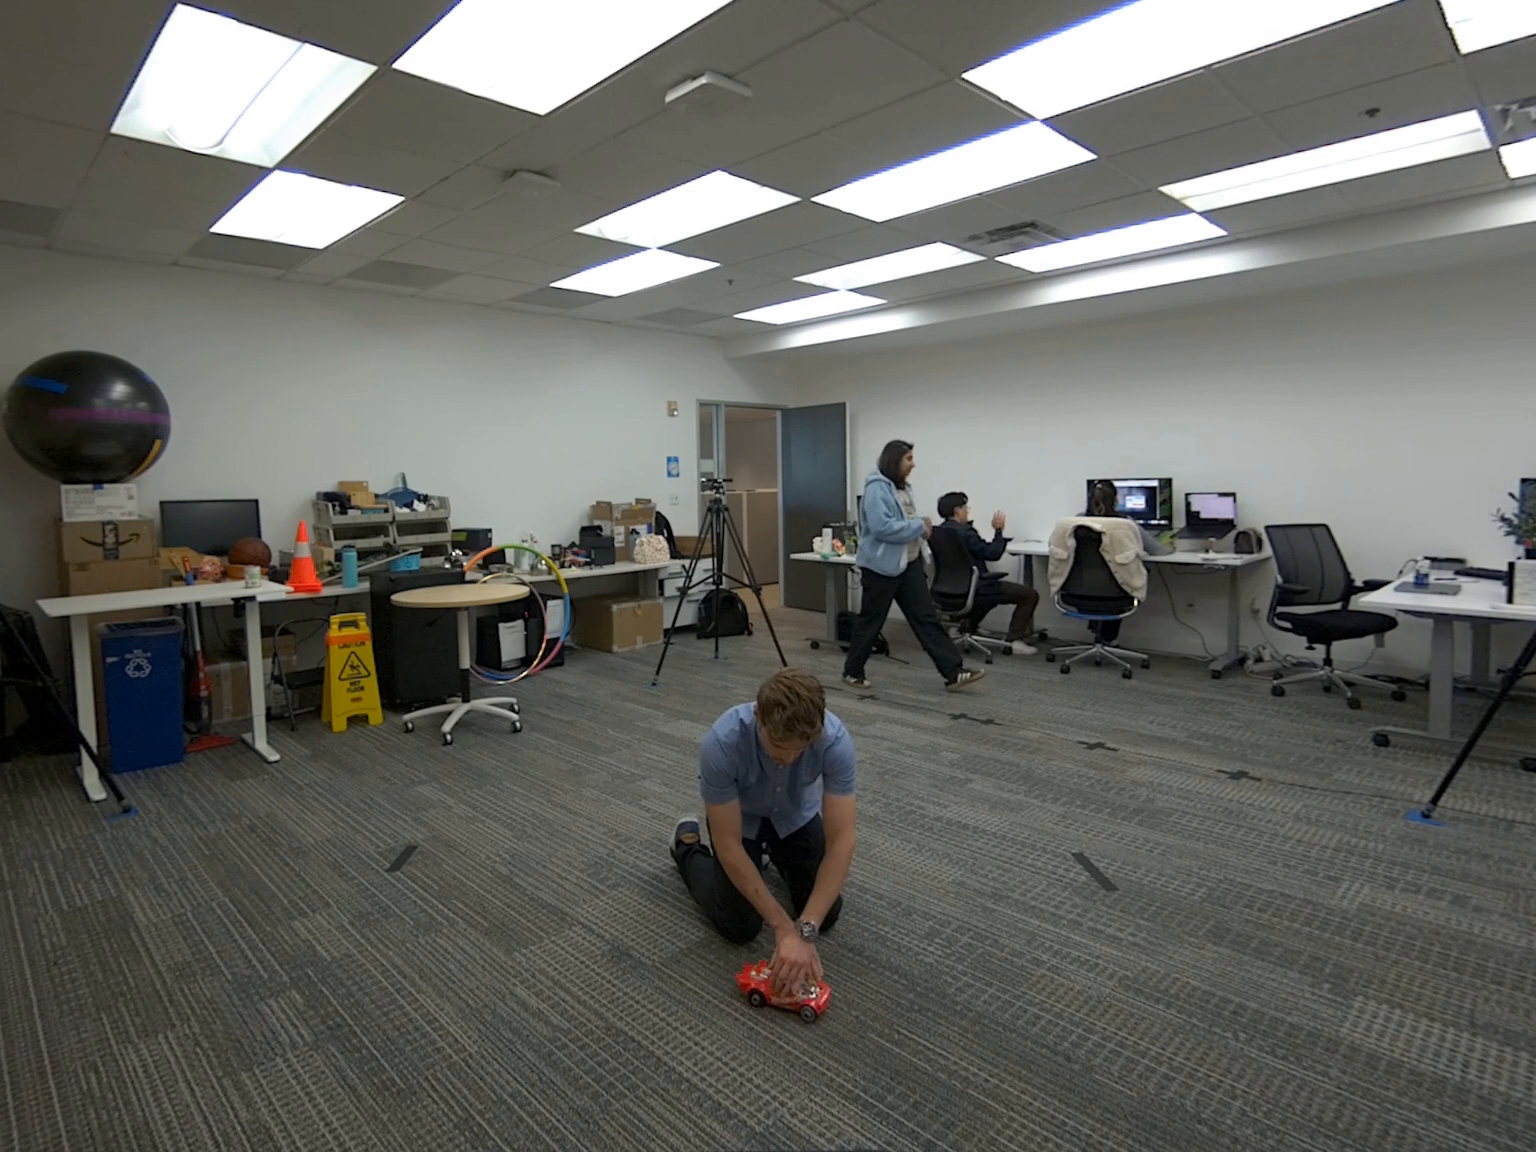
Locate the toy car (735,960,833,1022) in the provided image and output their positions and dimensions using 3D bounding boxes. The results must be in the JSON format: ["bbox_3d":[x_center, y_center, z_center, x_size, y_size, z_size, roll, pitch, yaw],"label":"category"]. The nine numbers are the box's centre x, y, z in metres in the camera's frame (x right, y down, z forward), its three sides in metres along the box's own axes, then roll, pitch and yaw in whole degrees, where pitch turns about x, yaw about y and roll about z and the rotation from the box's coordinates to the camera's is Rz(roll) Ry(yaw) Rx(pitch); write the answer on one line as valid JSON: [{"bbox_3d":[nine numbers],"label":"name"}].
[{"bbox_3d":[0.035,1.116,2.278,0.261,0.082,0.128,14,11,24],"label":"toy car"}]
